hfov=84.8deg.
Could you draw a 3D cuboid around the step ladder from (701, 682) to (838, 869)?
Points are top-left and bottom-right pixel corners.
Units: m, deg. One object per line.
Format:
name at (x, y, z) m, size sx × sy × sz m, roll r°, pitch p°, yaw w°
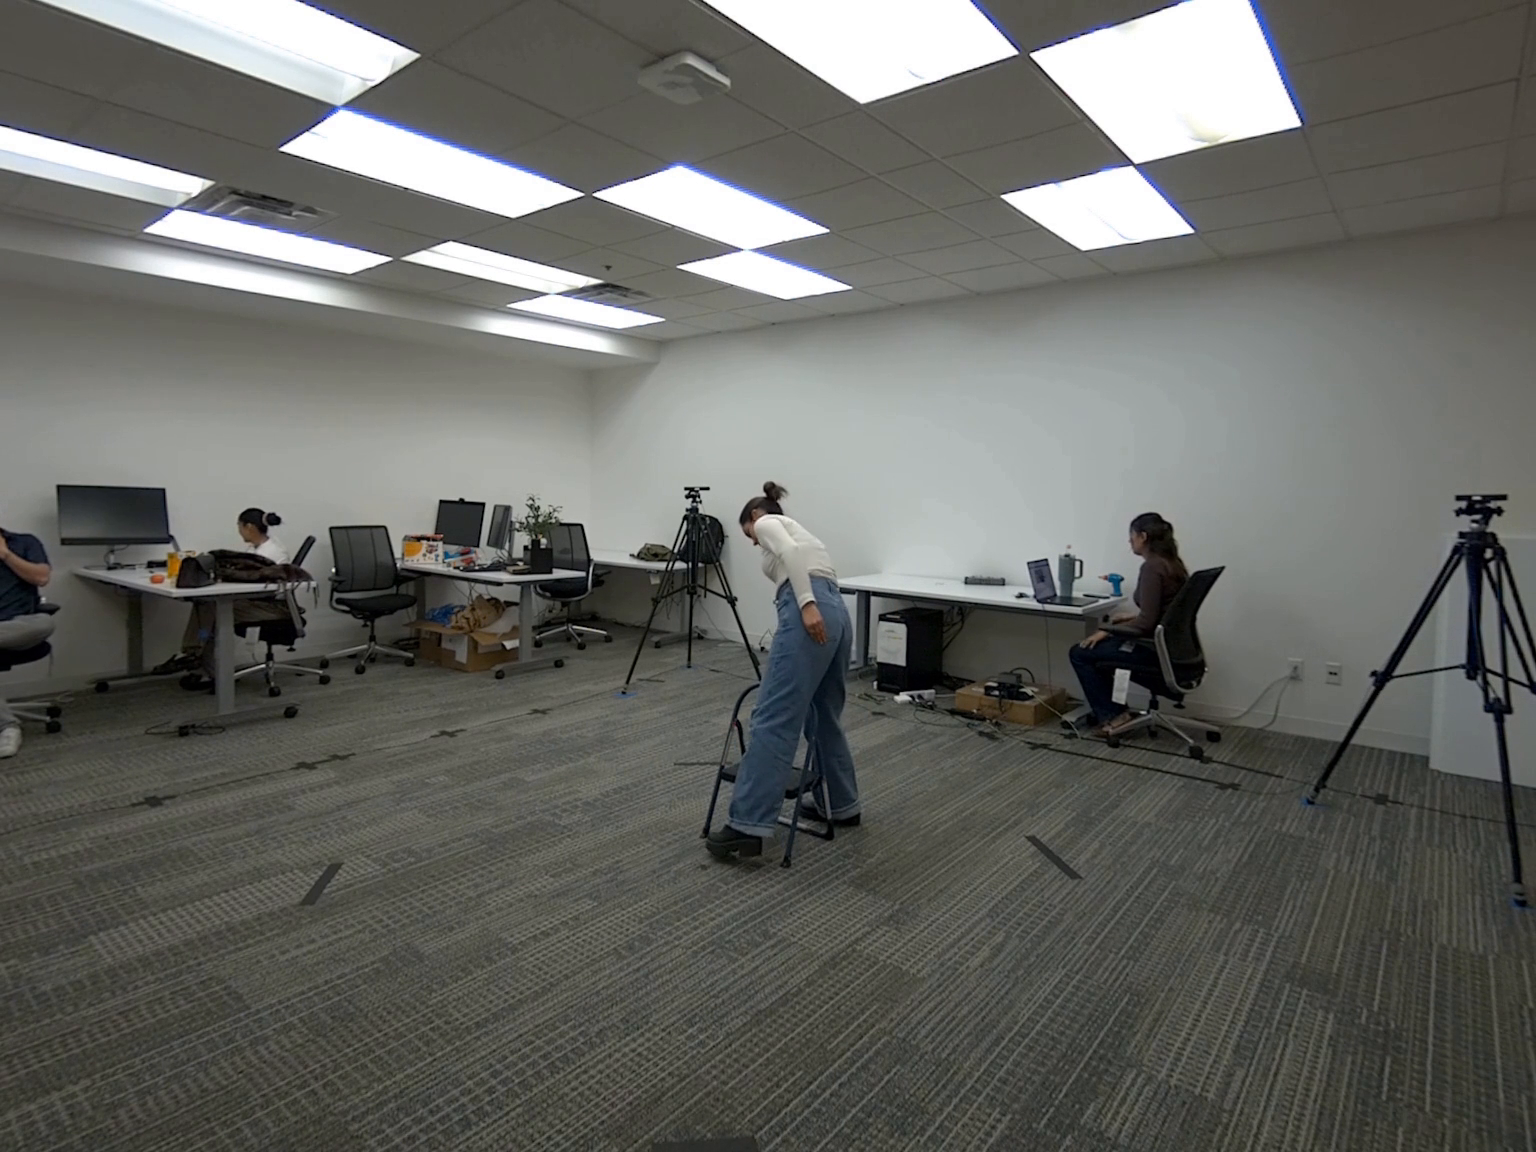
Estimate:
step ladder at (-0.001, 0.743, 3.377) m, size 0.445 × 0.604 × 0.339 m, roll 3°, pitch 5°, yaw 37°
